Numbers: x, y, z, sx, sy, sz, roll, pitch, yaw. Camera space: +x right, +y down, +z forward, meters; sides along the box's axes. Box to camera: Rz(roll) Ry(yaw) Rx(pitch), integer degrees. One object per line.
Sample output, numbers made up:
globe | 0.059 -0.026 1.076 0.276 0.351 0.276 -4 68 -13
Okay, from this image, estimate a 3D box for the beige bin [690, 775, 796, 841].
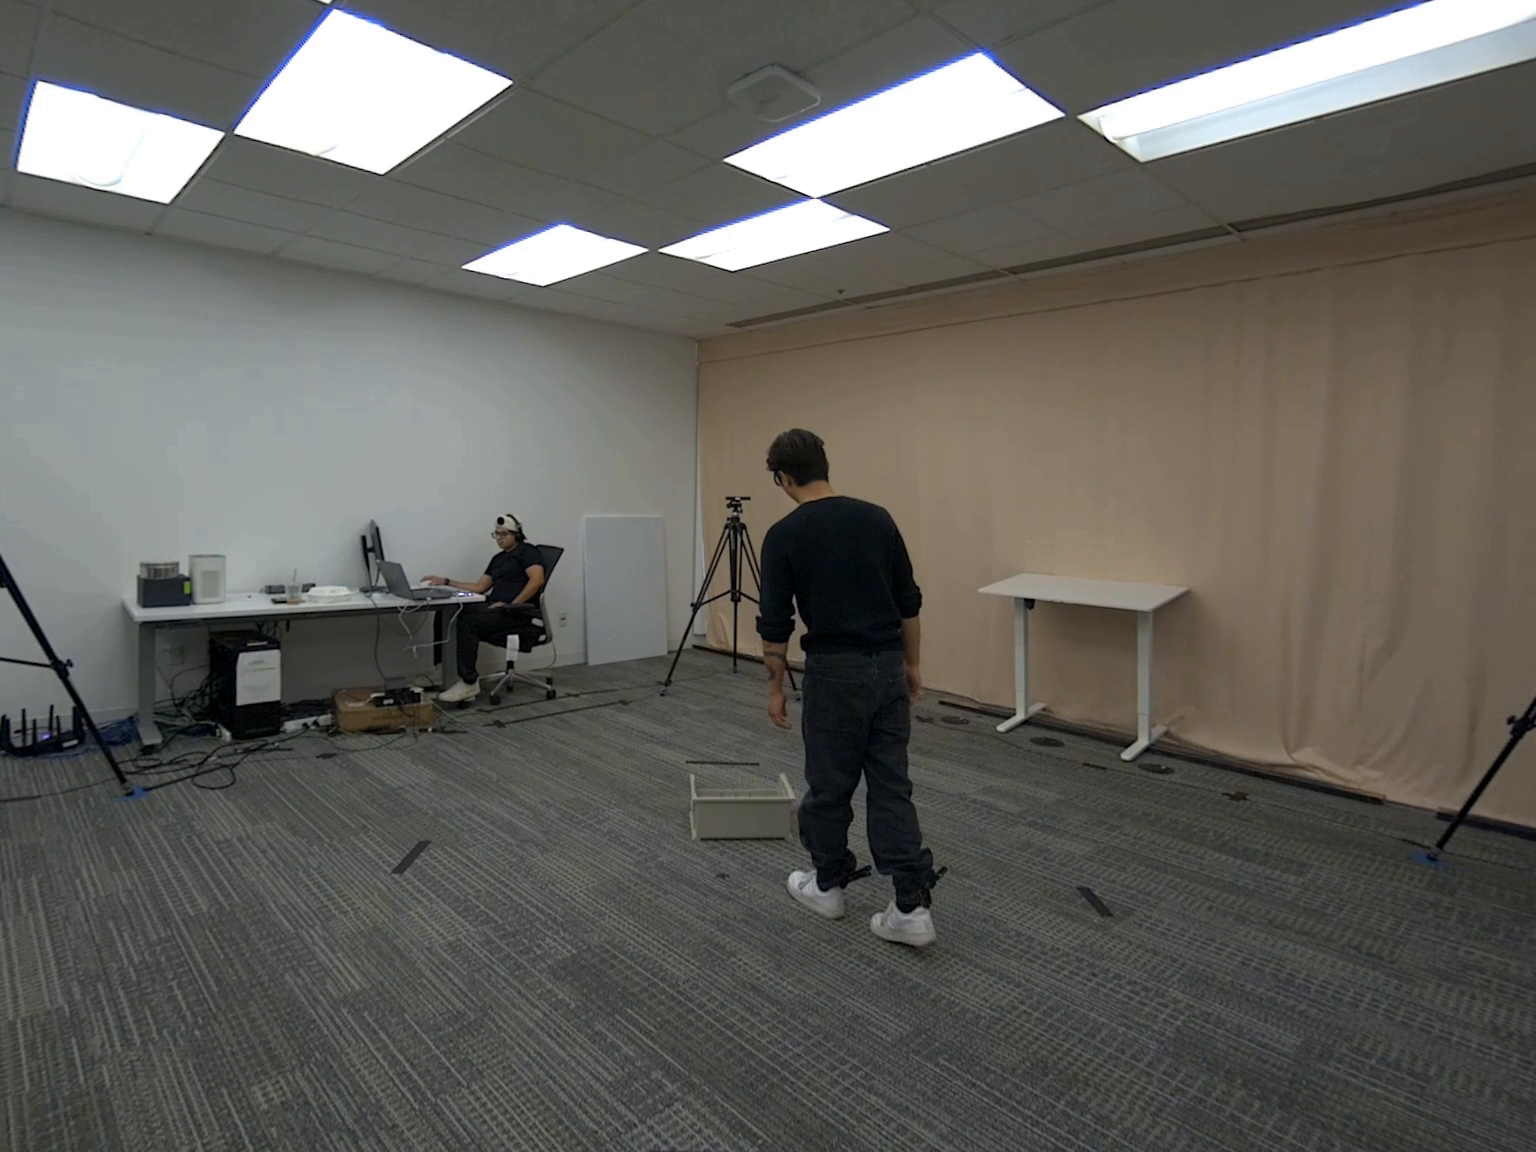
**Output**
beige bin | -0.129 0.990 3.618 0.420 0.188 0.380 1 6 -6
